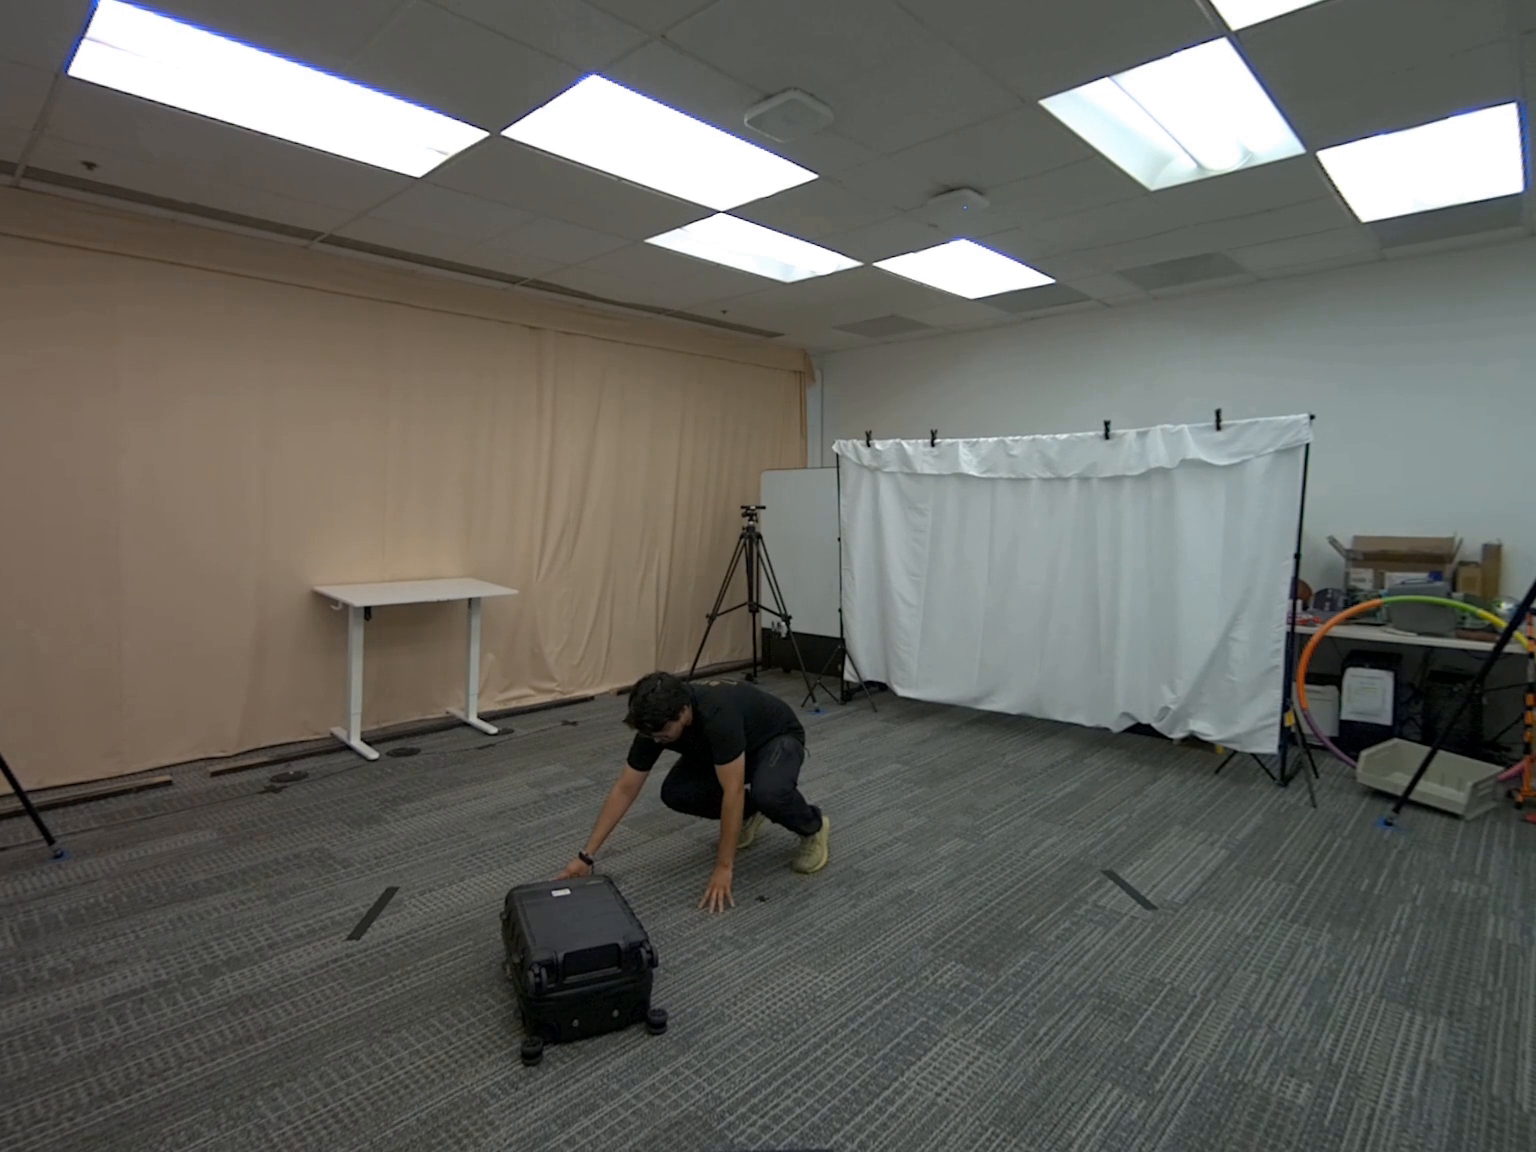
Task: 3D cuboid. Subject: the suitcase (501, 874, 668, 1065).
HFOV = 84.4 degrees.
[{"bbox_3d":[-0.636,1.051,2.595,0.375,0.256,1.004,-3,7,-24],"label":"suitcase"}]
